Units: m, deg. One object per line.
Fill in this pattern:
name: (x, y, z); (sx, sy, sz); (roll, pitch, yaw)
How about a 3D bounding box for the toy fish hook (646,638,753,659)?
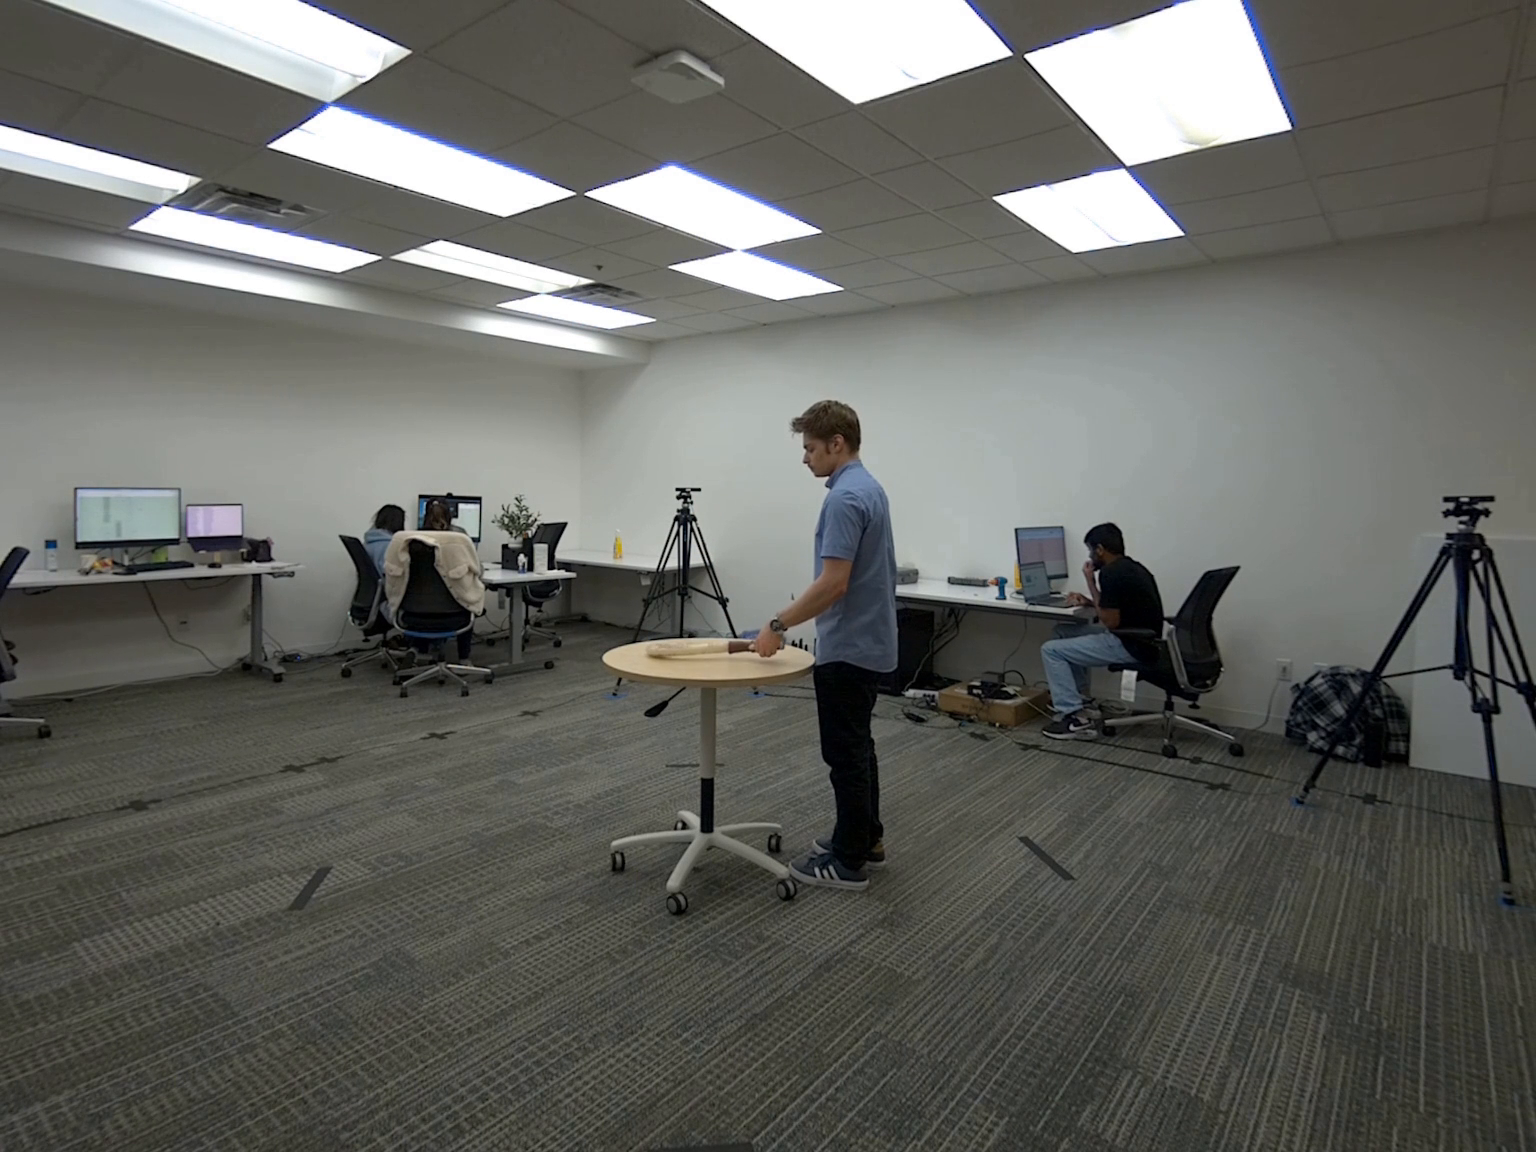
toy fish hook: (-0.200, 0.254, 3.094); (0.510, 0.048, 0.224); (-2, 5, 6)
